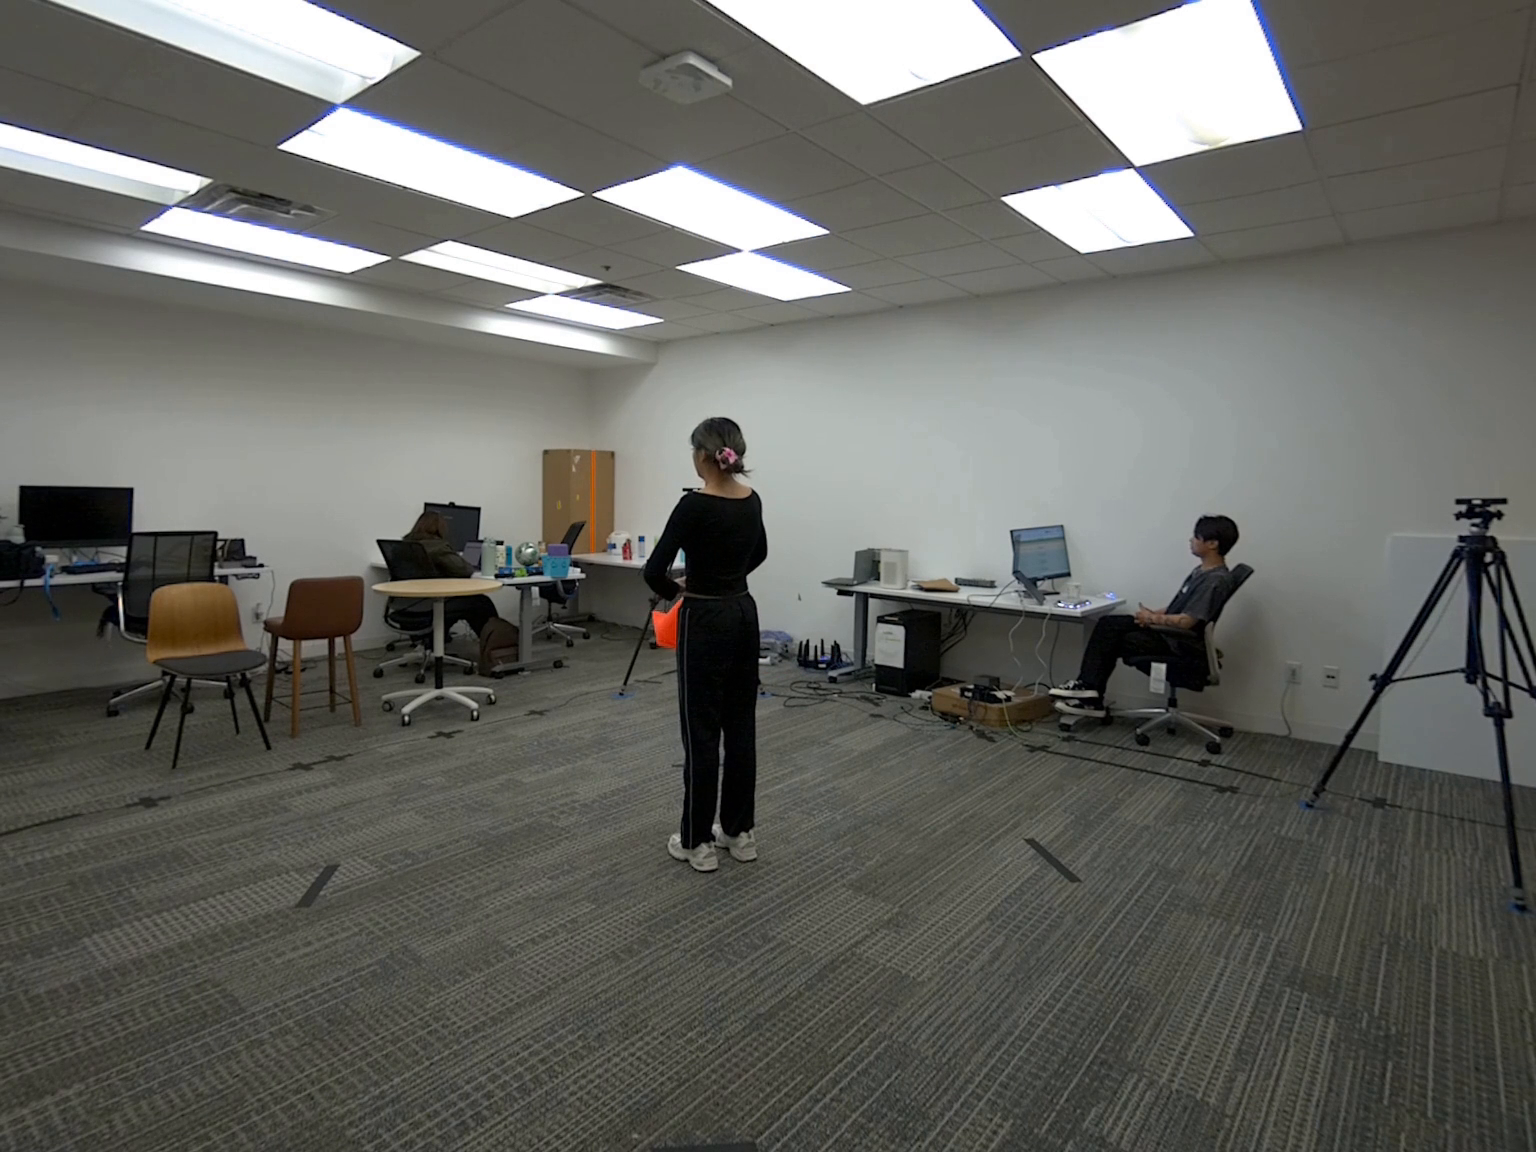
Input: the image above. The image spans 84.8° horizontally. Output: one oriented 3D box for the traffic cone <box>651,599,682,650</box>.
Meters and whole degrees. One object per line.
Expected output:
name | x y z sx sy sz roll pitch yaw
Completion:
traffic cone | -0.294 0.101 3.443 0.199 0.381 0.211 18 34 -26
